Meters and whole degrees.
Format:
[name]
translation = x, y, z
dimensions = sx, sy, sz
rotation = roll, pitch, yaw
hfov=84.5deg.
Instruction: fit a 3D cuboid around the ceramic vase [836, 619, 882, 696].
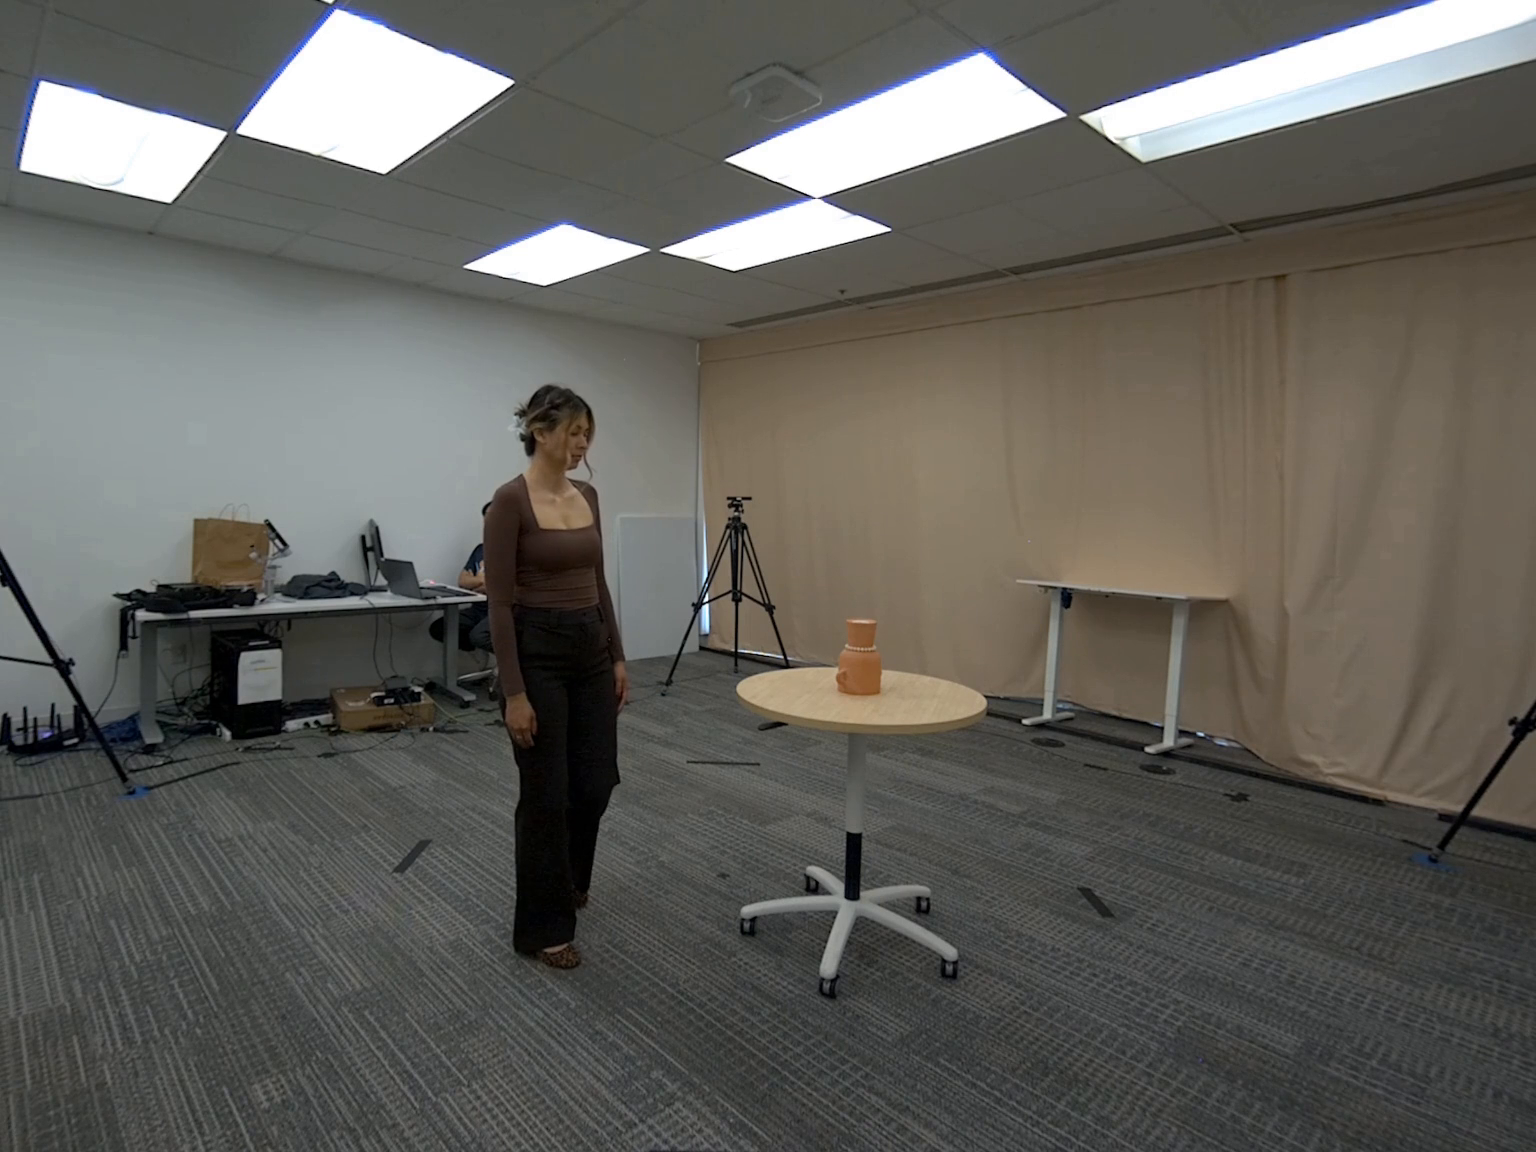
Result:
[ceramic vase]
translation = 0.282, 0.251, 2.640
dimensions = 0.136, 0.219, 0.158
rotation = 3, 3, 10
